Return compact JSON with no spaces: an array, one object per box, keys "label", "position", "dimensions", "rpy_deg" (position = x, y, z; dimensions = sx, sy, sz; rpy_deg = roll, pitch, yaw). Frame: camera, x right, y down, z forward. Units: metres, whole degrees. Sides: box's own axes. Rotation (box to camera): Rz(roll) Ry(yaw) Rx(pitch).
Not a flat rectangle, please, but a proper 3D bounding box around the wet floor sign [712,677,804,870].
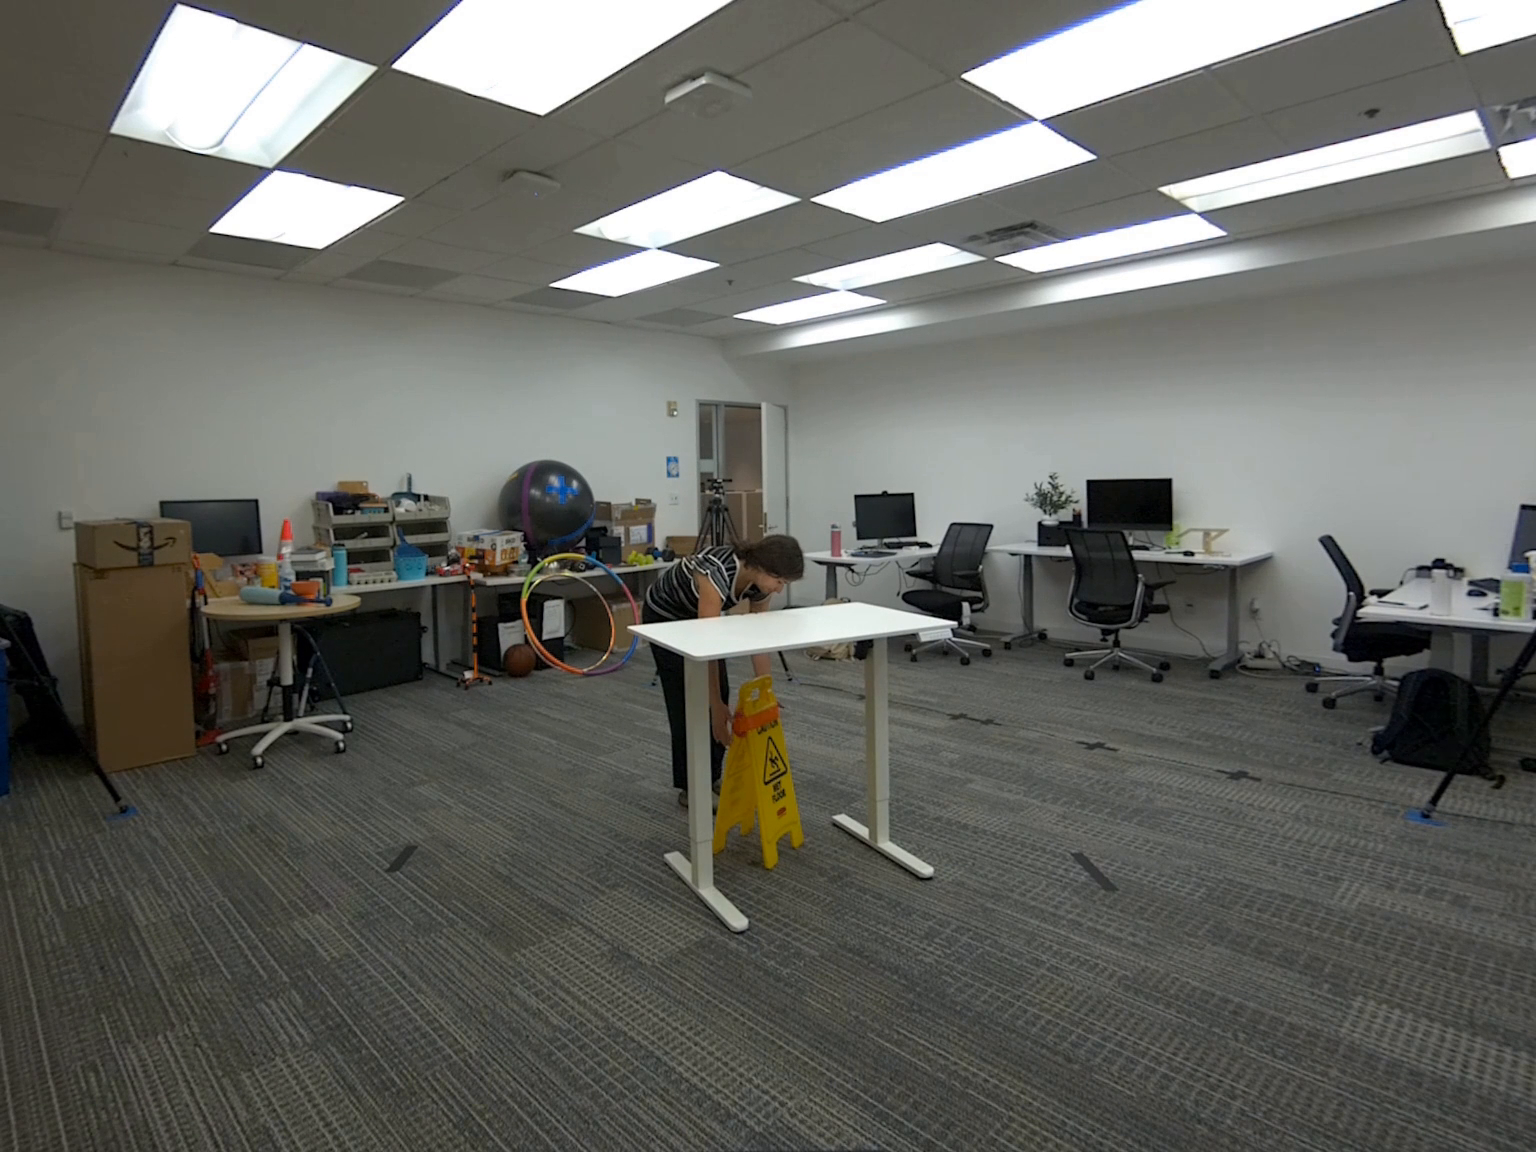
[{"label":"wet floor sign","position":[-0.038,0.711,3.211],"dimensions":[0.298,0.643,0.275],"rpy_deg":[3,5,33]}]
